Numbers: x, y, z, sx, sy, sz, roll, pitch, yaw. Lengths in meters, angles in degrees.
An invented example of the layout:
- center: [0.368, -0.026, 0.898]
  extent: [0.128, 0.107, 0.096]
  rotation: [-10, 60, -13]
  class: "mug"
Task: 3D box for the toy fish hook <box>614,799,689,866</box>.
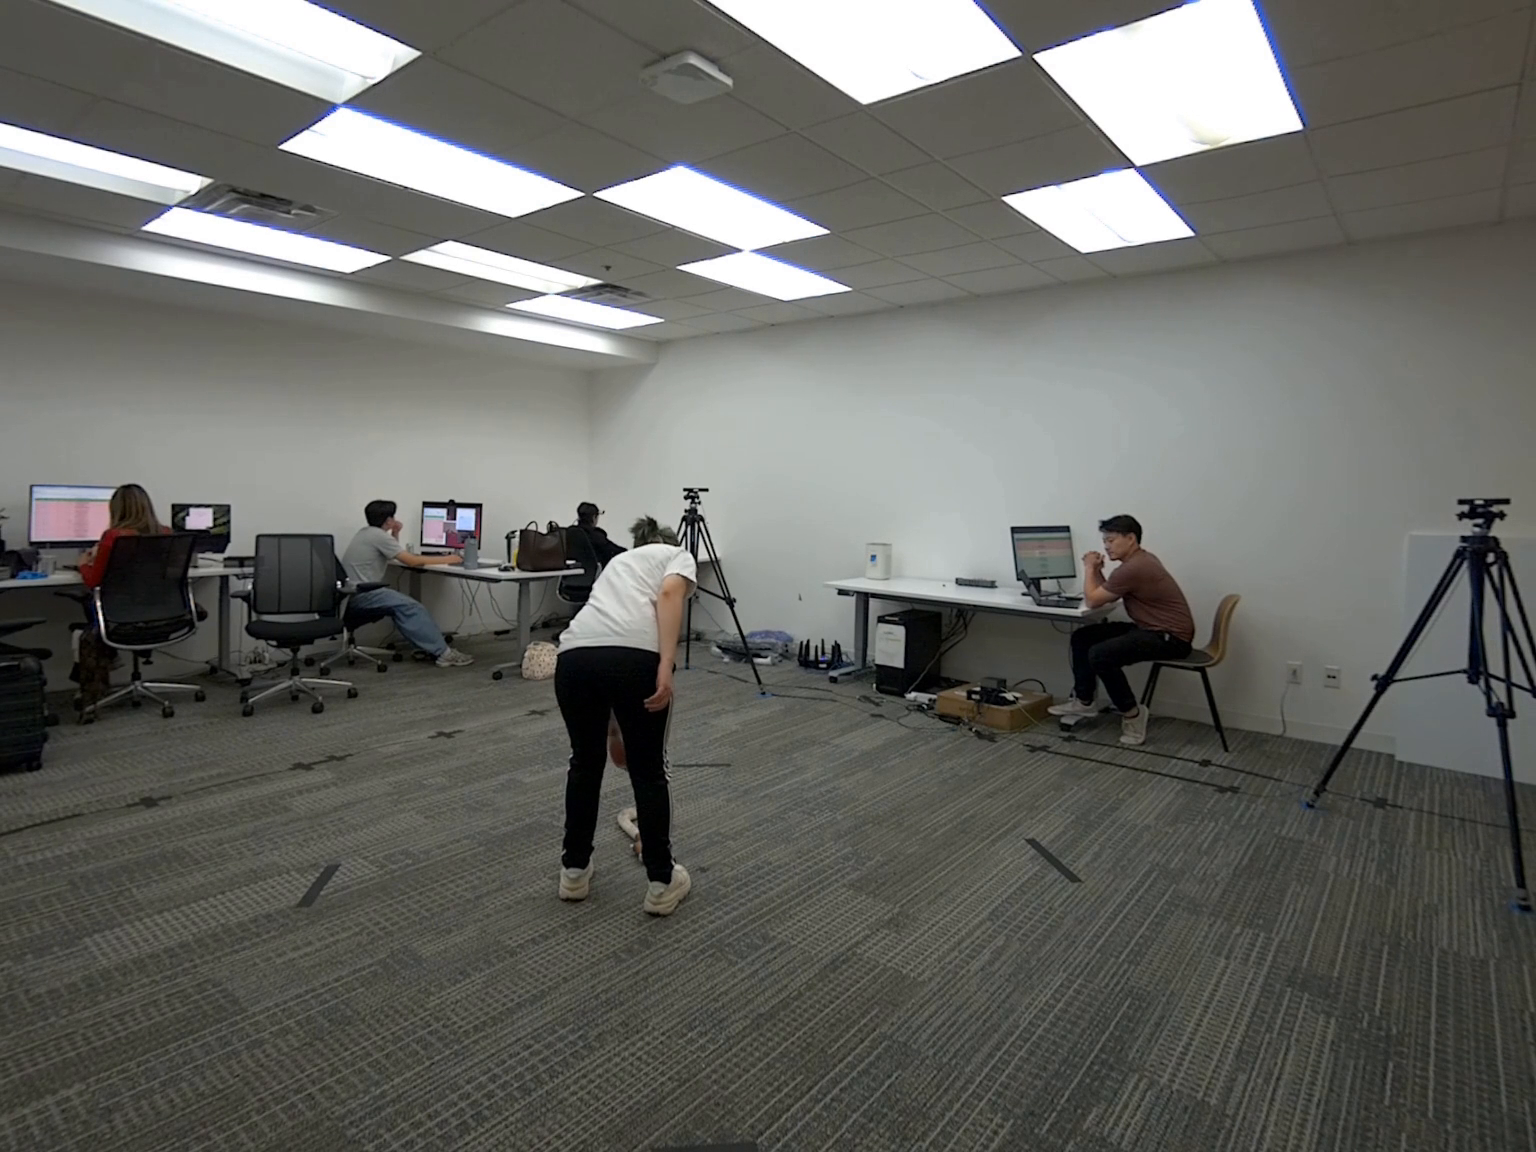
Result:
- center: [-0.480, 1.012, 3.382]
  extent: [0.221, 0.048, 0.516]
  rotation: [-2, 7, -15]
  class: "toy fish hook"
